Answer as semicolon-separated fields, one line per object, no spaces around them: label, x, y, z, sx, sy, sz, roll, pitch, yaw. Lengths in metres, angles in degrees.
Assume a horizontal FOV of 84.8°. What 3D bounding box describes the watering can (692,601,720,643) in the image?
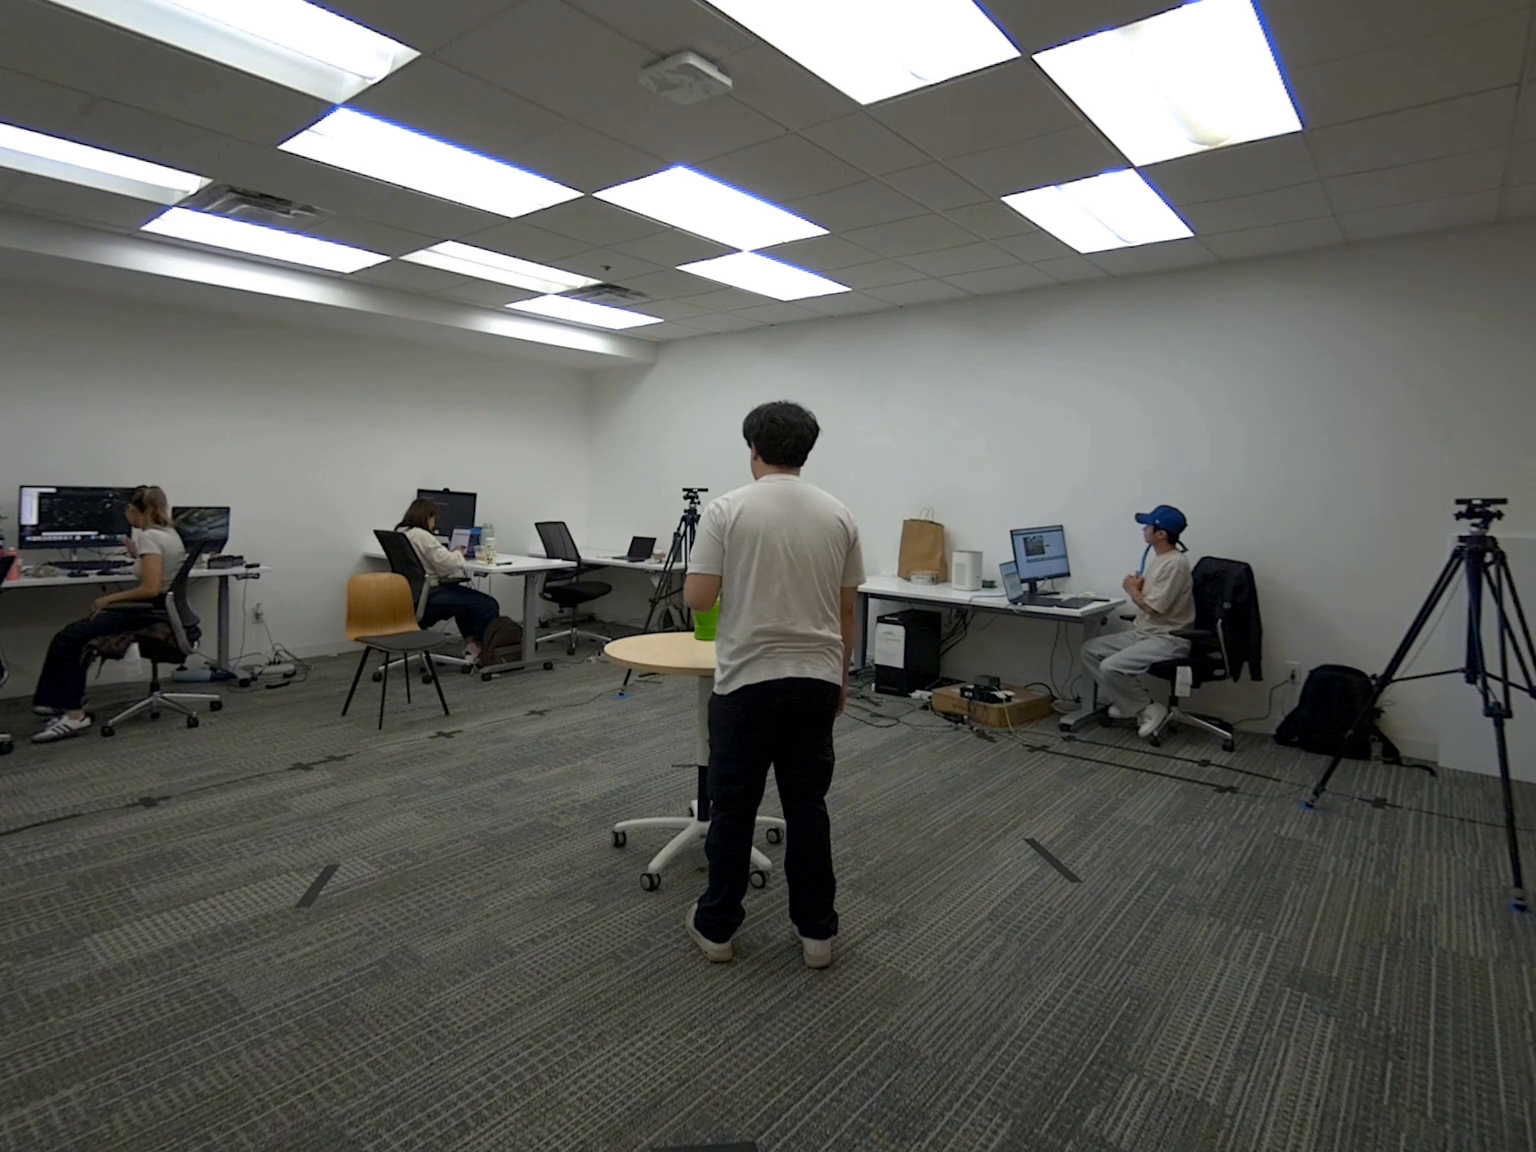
watering can;-0.161;0.119;2.822;0.270;0.177;0.101;-3;2;-44
